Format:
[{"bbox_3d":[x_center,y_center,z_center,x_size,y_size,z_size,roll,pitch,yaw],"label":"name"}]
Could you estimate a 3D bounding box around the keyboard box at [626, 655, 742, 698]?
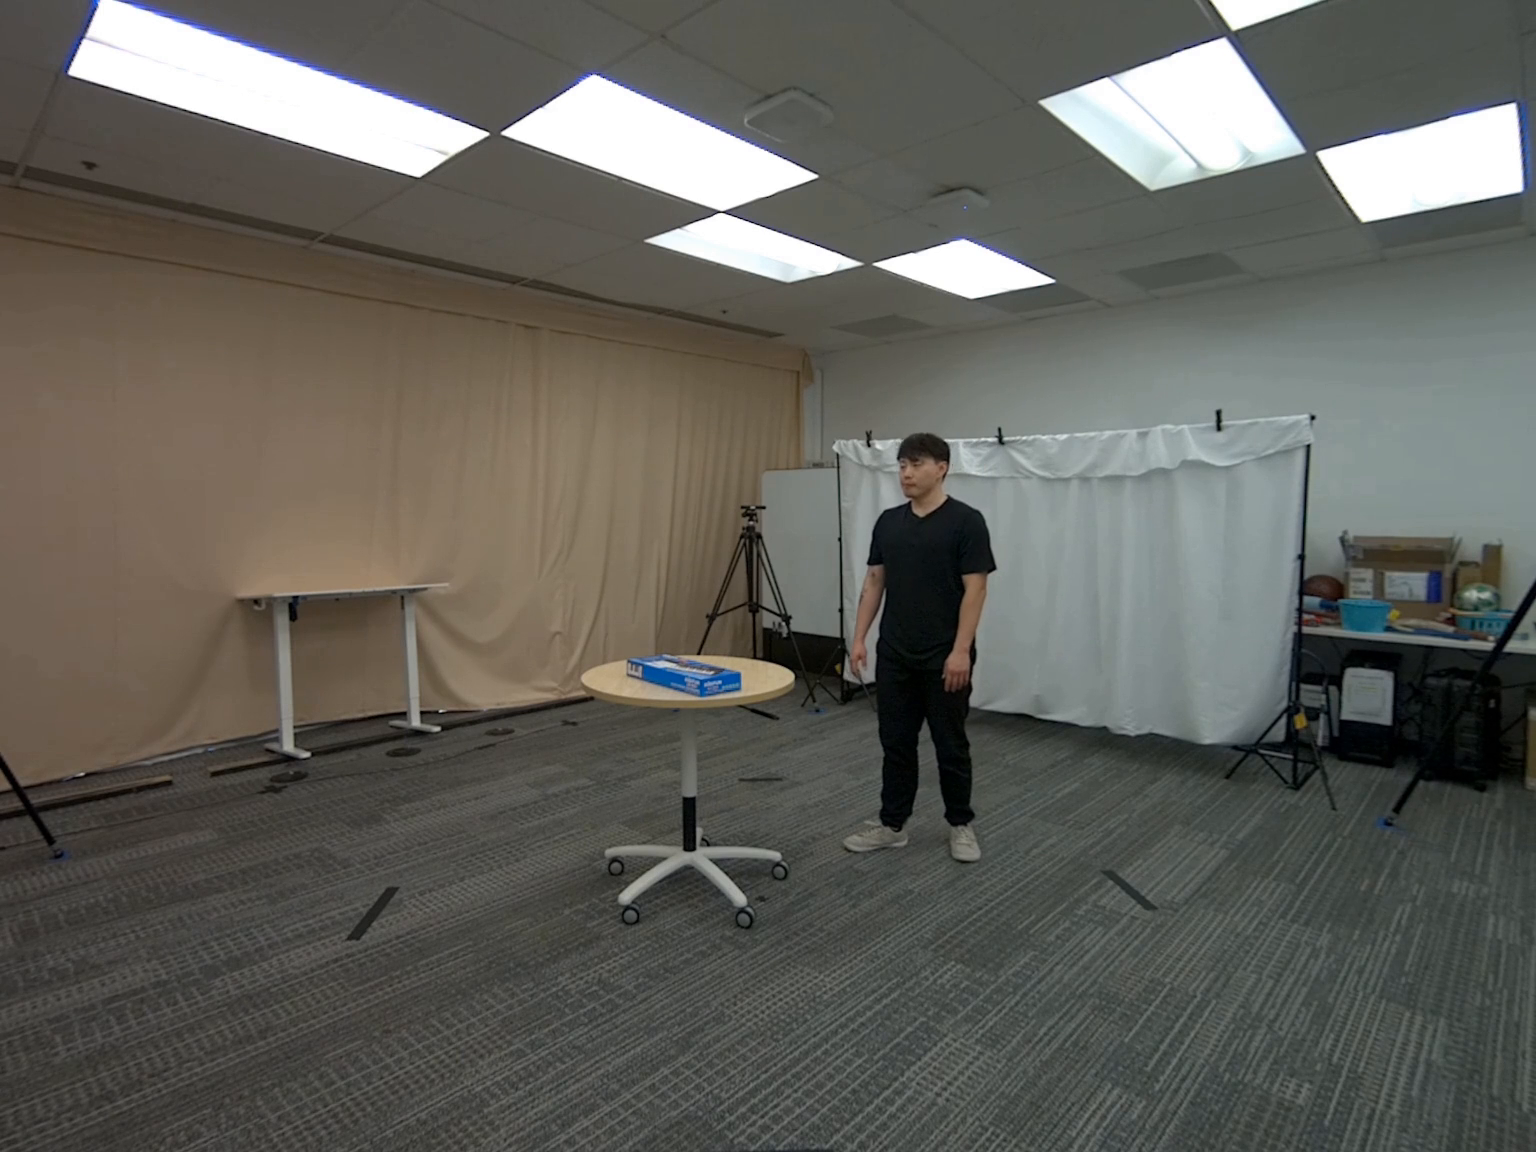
[{"bbox_3d":[-0.299,0.341,2.911,0.170,0.059,0.451,-4,6,-41],"label":"keyboard box"}]
